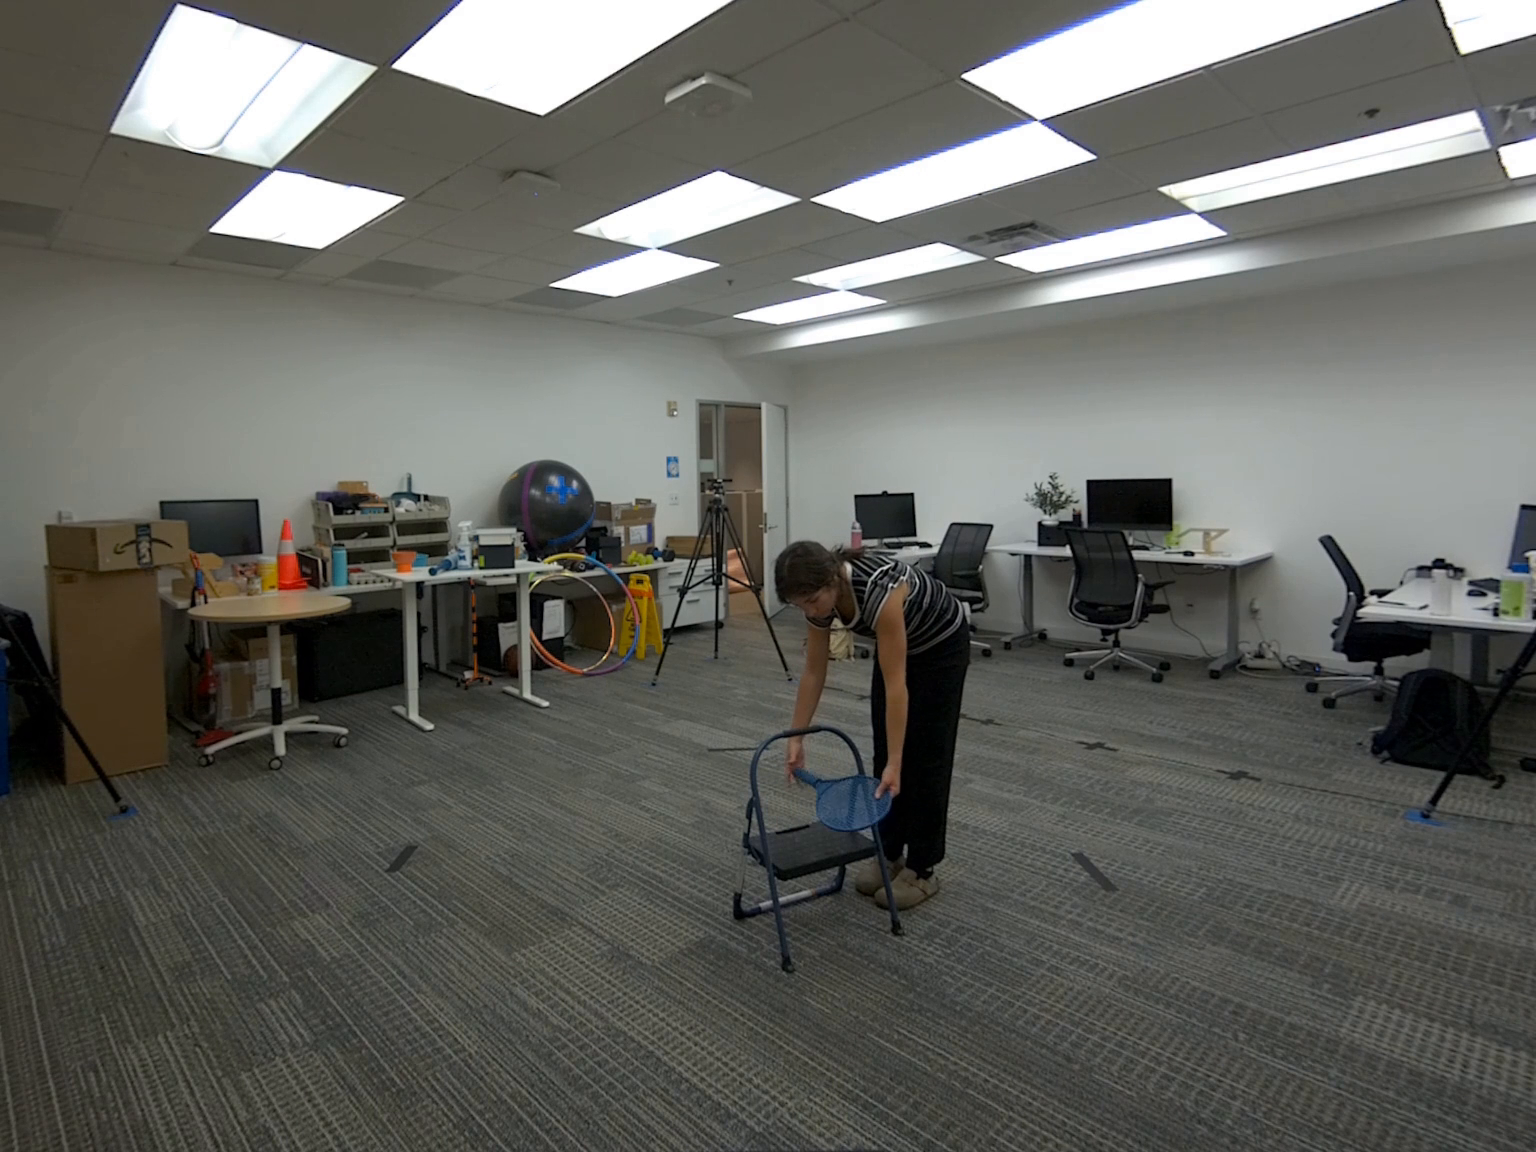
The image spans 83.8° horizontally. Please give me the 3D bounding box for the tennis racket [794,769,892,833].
[{"bbox_3d":[0.225,0.667,2.593,0.212,0.031,0.445,-35,22,-21],"label":"tennis racket"}]
